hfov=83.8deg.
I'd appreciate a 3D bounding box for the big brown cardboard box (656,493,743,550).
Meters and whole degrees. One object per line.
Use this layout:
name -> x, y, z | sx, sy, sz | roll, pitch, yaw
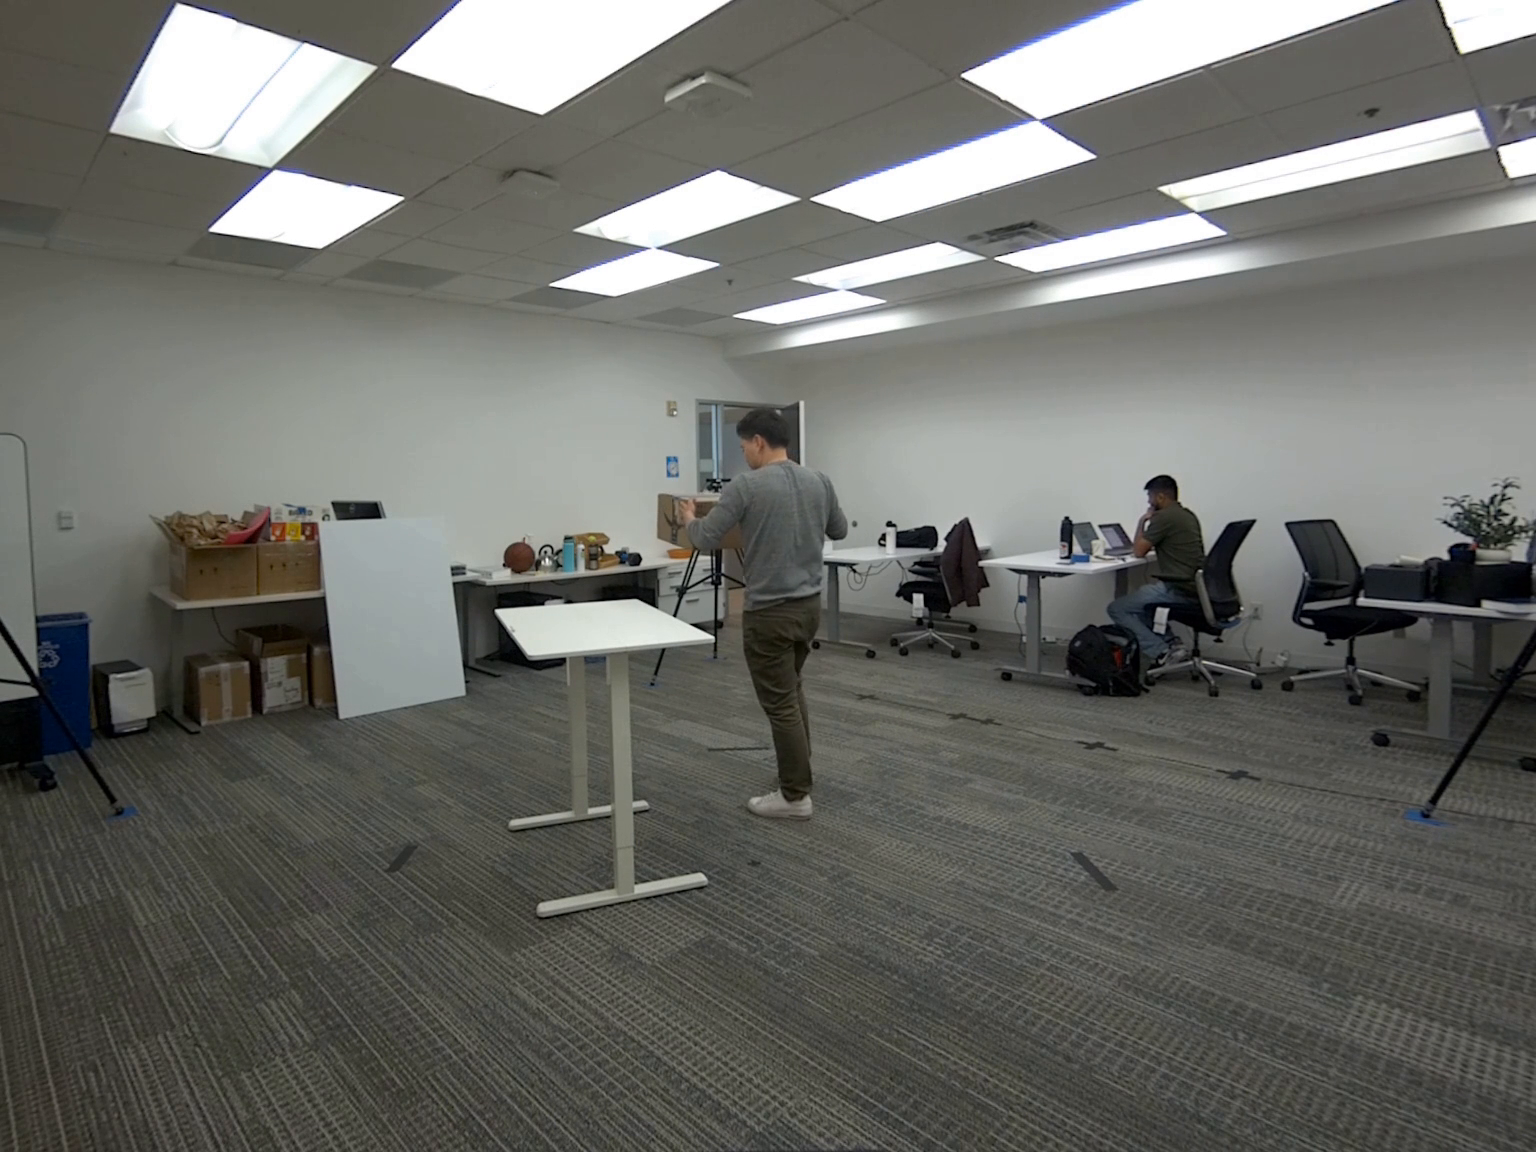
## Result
big brown cardboard box -> -0.176, -0.265, 3.972 | 0.576, 0.231, 0.430 | -5, 11, -28
